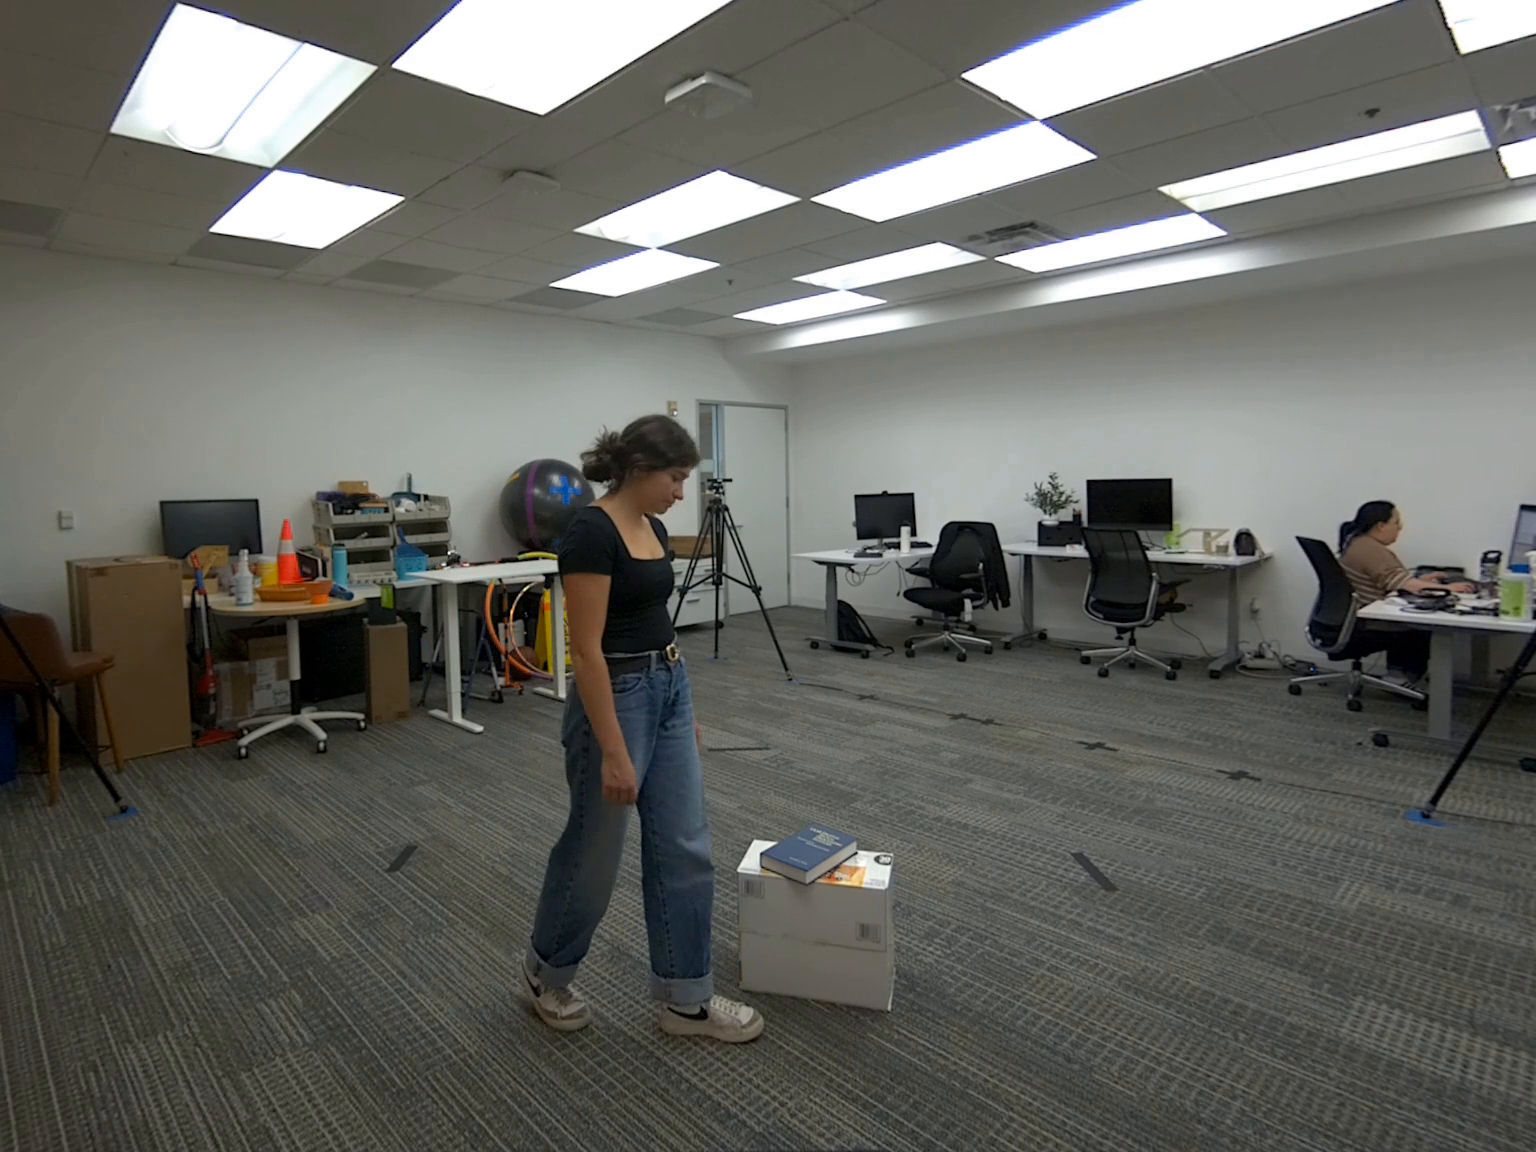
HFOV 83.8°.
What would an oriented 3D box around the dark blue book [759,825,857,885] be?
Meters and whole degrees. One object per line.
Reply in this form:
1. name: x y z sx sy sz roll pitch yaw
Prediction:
1. dark blue book: 0.120 0.764 2.372 0.168 0.045 0.239 5 10 39
